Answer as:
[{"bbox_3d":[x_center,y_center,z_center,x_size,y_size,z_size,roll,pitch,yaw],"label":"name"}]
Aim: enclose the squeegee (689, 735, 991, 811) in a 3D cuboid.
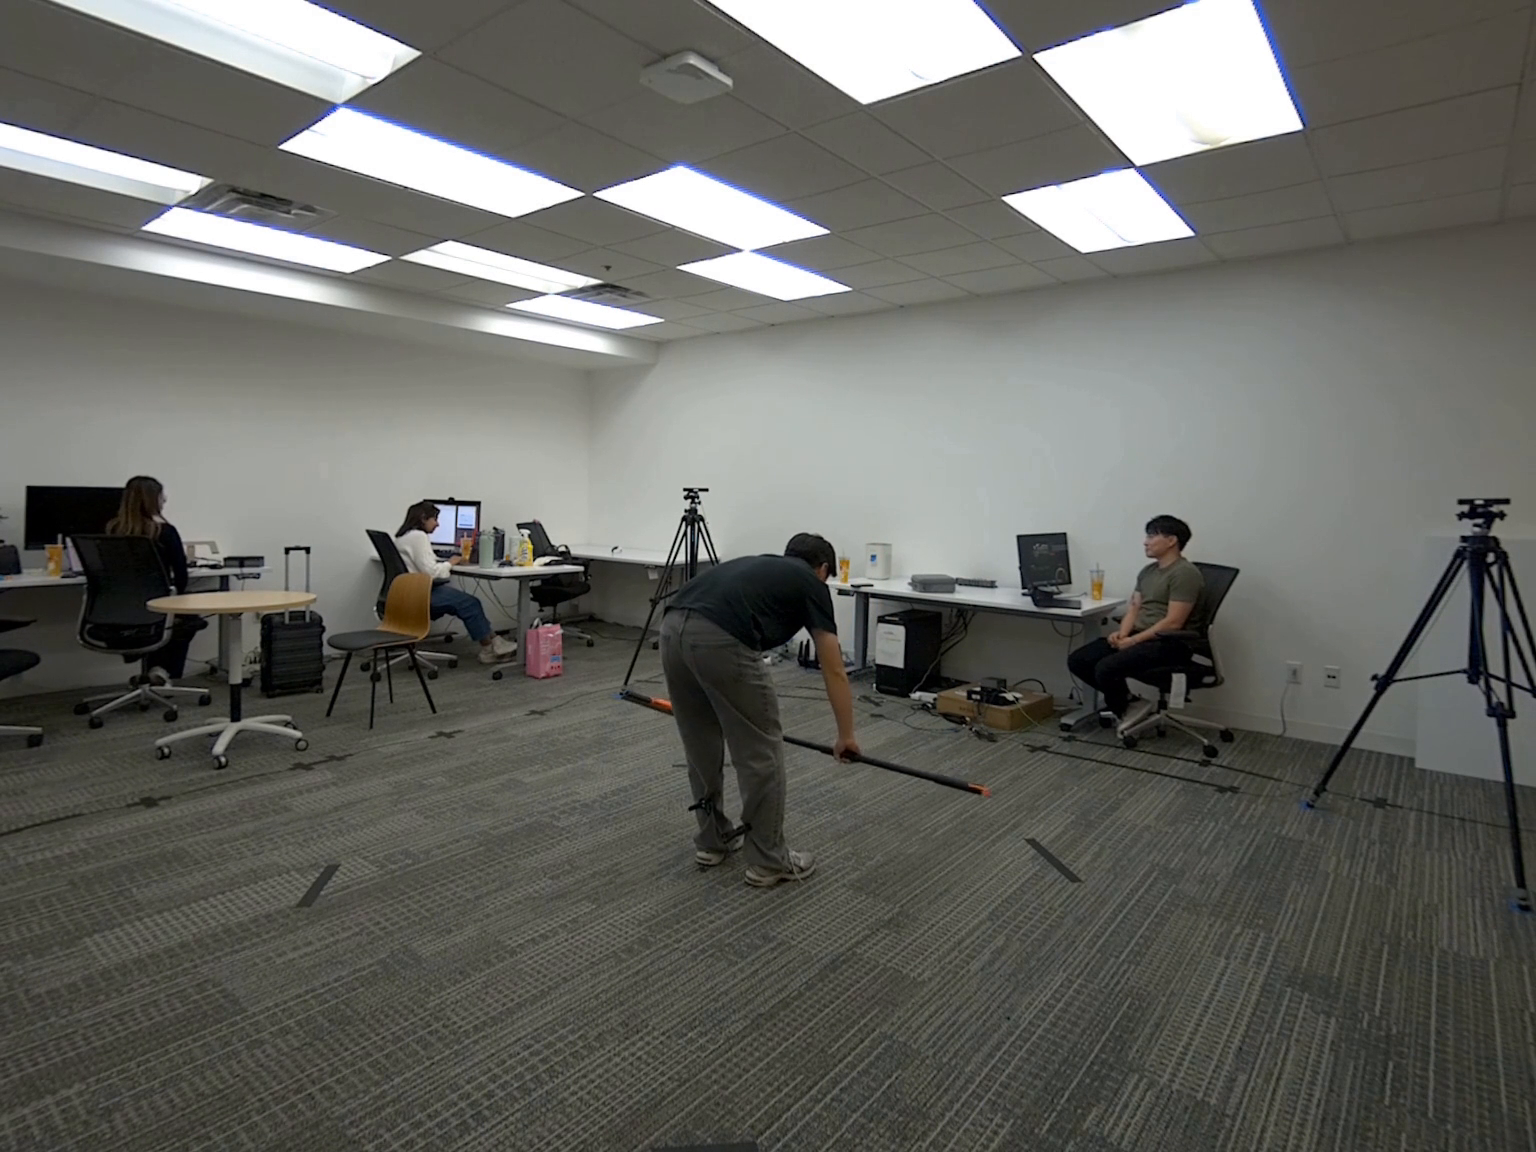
[{"bbox_3d":[0.100,0.627,3.303,1.591,0.053,0.419,7,-18,38],"label":"squeegee"}]
